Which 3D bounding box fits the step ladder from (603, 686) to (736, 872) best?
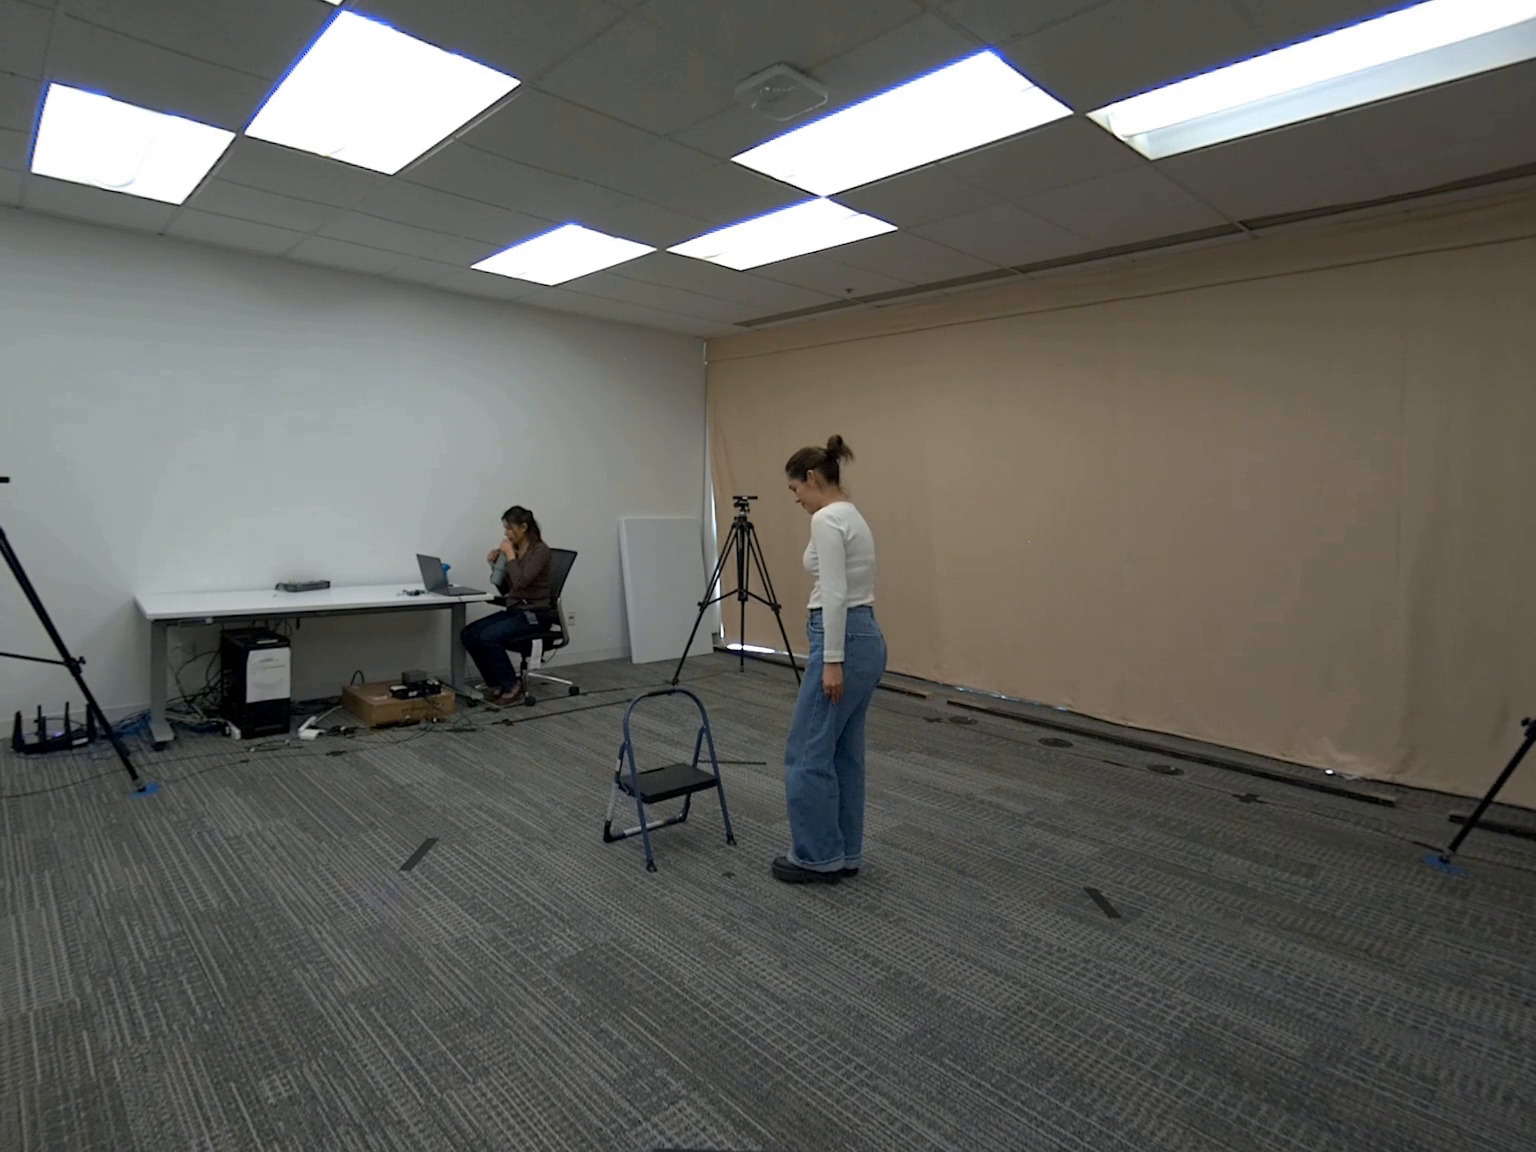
[{"bbox_3d":[-0.395,0.769,3.367,0.421,0.604,0.358,-1,5,-43],"label":"step ladder"}]
